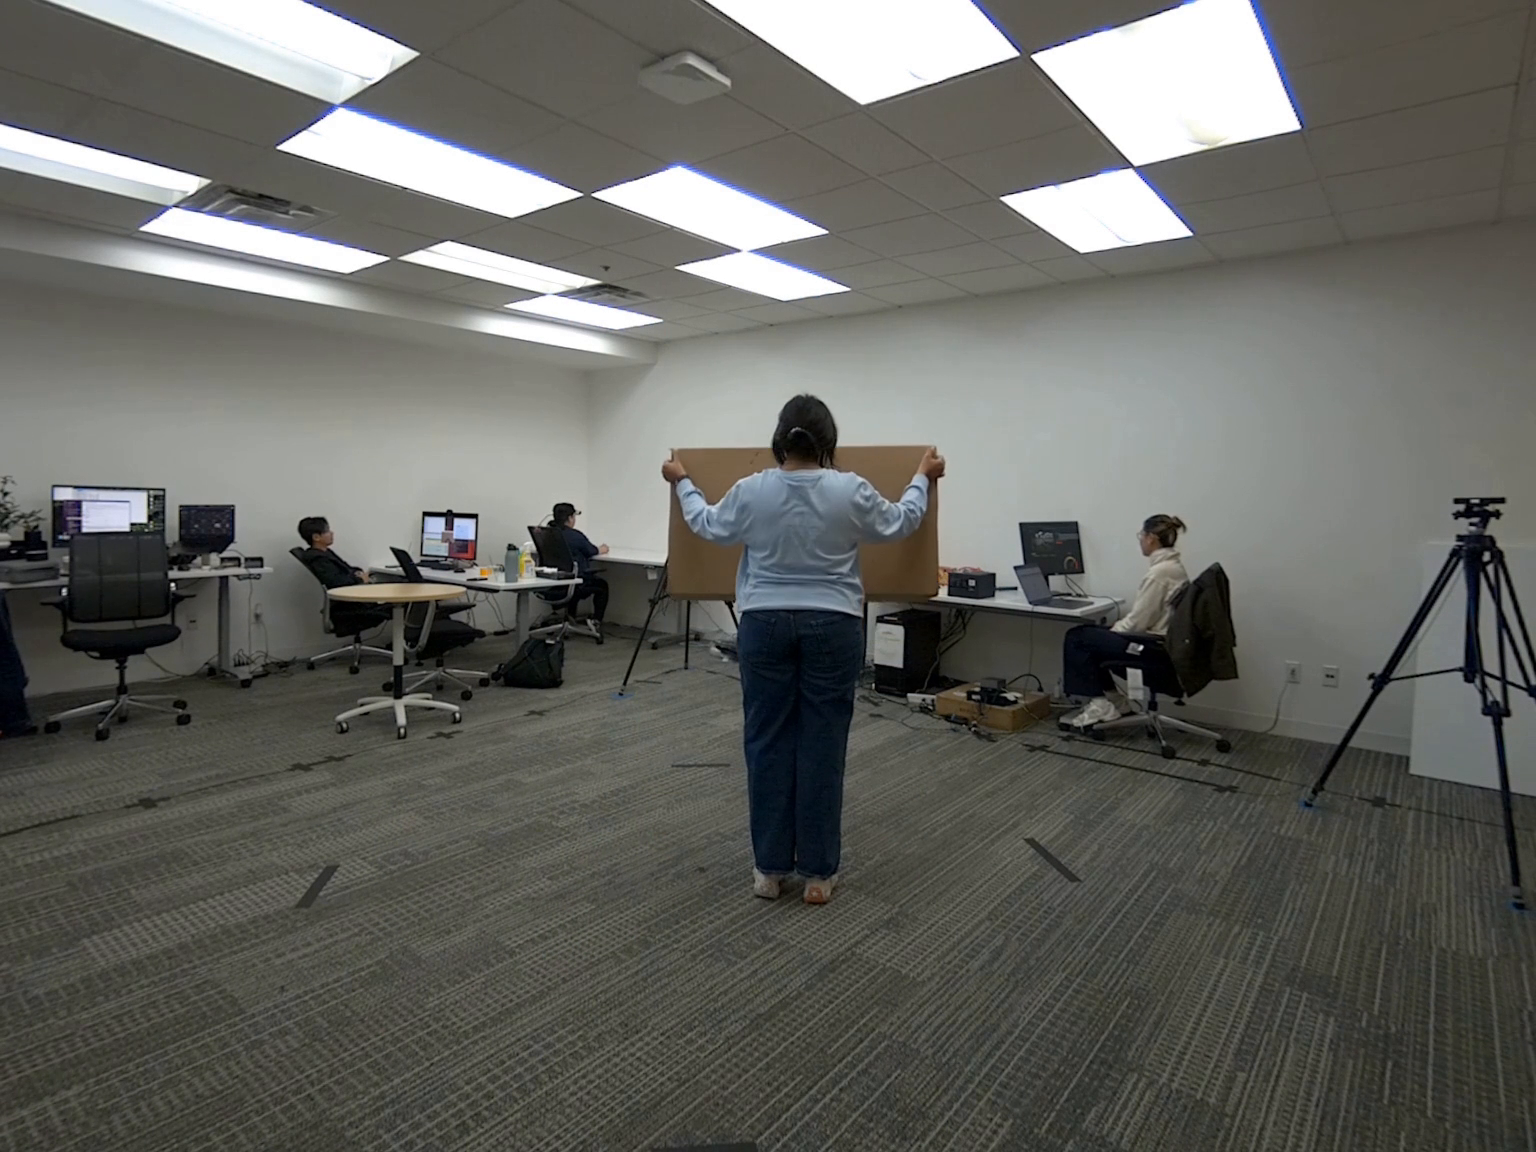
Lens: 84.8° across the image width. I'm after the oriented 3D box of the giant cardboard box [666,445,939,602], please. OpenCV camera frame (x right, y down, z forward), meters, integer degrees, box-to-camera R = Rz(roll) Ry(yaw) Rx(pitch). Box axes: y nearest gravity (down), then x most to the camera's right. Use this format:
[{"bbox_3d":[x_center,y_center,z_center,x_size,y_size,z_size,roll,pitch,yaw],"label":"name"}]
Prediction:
[{"bbox_3d":[0.125,-0.199,3.444,1.033,0.582,0.420,0,-7,6],"label":"giant cardboard box"}]
